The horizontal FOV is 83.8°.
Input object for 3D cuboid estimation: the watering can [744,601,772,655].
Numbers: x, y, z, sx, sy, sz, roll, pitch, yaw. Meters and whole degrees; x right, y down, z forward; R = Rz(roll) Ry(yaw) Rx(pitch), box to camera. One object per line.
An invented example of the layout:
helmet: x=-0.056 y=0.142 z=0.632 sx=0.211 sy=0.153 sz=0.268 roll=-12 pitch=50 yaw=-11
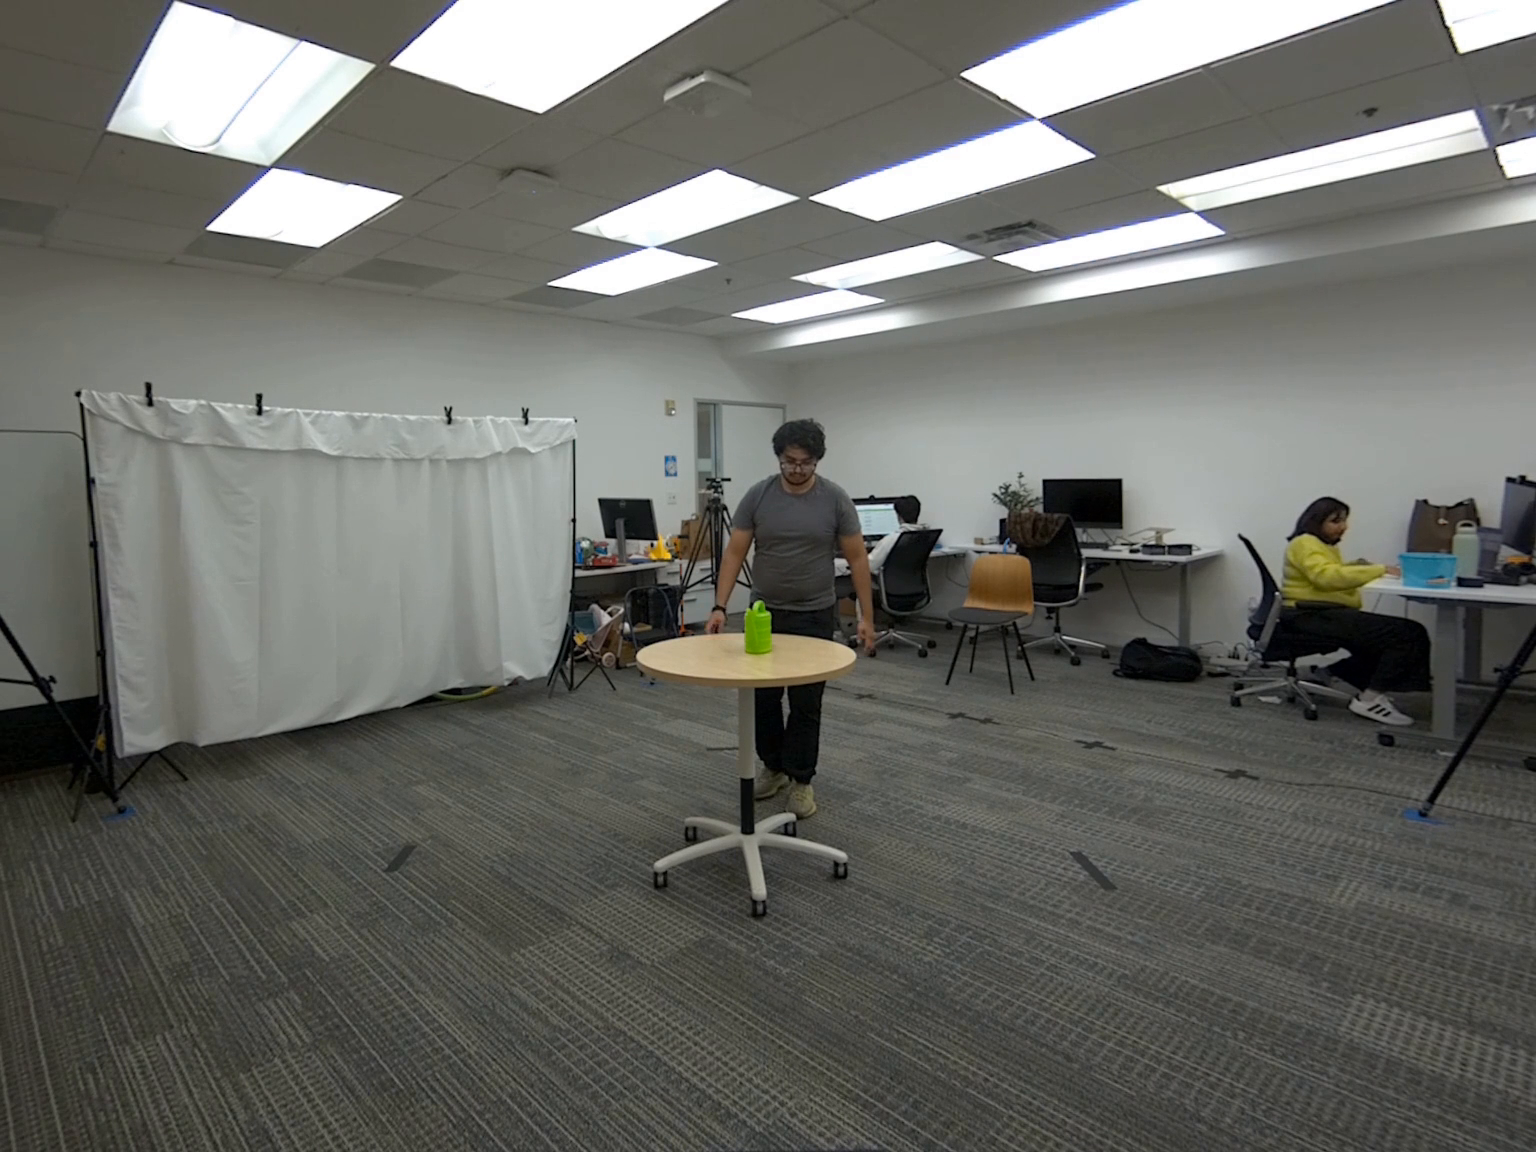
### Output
watering can: x=-0.045 y=0.184 z=2.995 sx=0.100 sy=0.176 sz=0.273 roll=2 pitch=4 yaw=20
